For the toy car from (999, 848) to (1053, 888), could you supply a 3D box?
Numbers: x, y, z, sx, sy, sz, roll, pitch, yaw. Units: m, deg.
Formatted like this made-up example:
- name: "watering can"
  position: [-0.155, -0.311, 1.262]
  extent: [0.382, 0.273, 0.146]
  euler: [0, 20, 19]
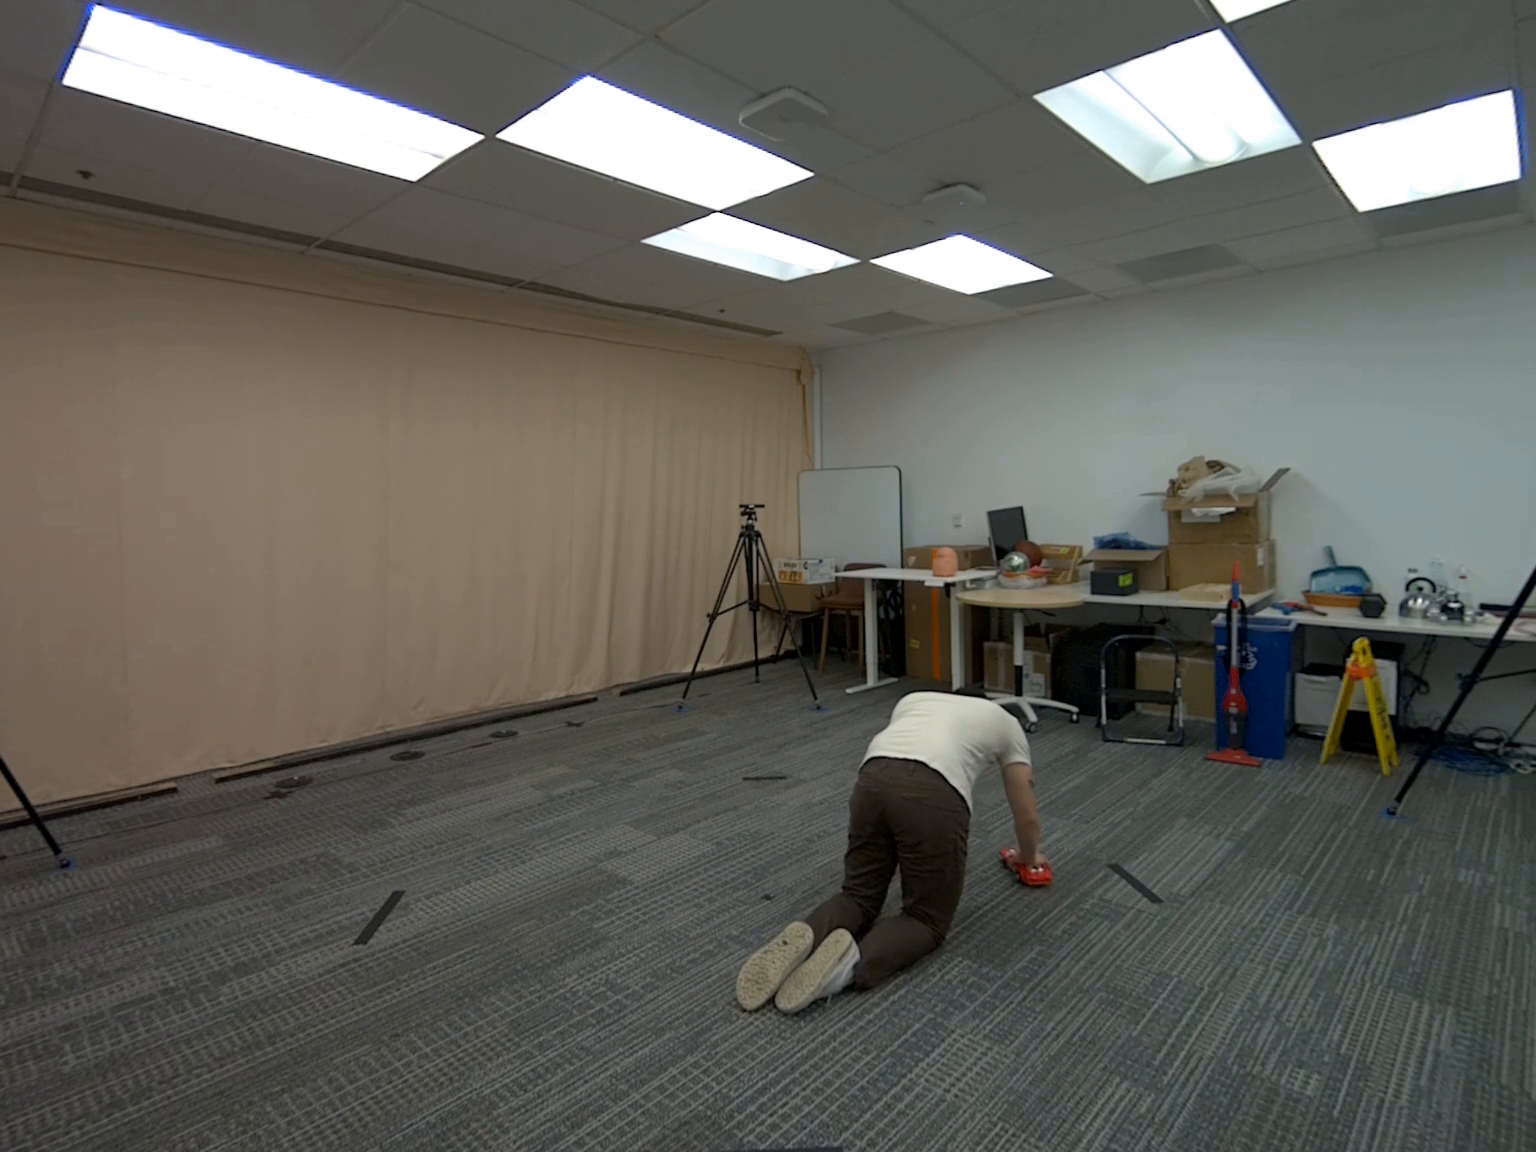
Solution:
- name: "toy car"
  position: [0.966, 1.082, 3.113]
  extent: [0.129, 0.083, 0.256]
  euler: [1, -2, -8]
